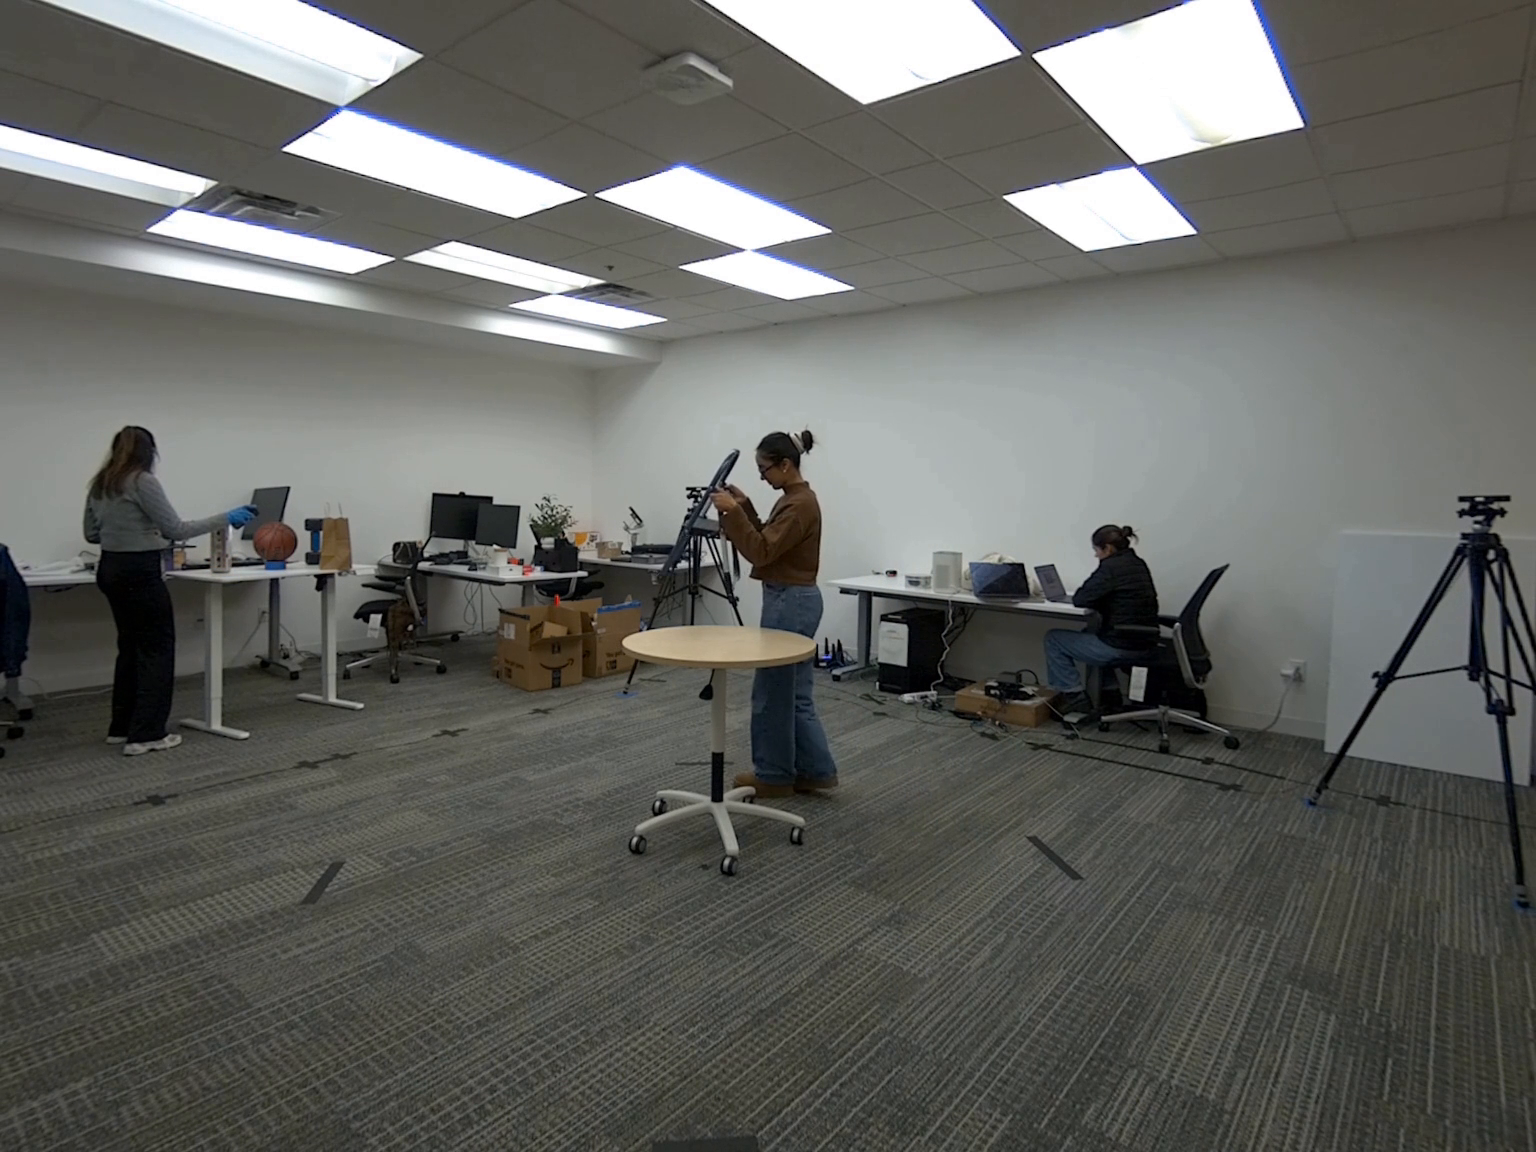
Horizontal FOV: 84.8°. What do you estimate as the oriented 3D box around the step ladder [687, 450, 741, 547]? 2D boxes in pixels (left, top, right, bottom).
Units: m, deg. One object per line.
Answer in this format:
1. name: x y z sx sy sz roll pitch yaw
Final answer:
1. step ladder: -0.272 -0.280 3.814 0.351 0.601 0.432 9 10 2
